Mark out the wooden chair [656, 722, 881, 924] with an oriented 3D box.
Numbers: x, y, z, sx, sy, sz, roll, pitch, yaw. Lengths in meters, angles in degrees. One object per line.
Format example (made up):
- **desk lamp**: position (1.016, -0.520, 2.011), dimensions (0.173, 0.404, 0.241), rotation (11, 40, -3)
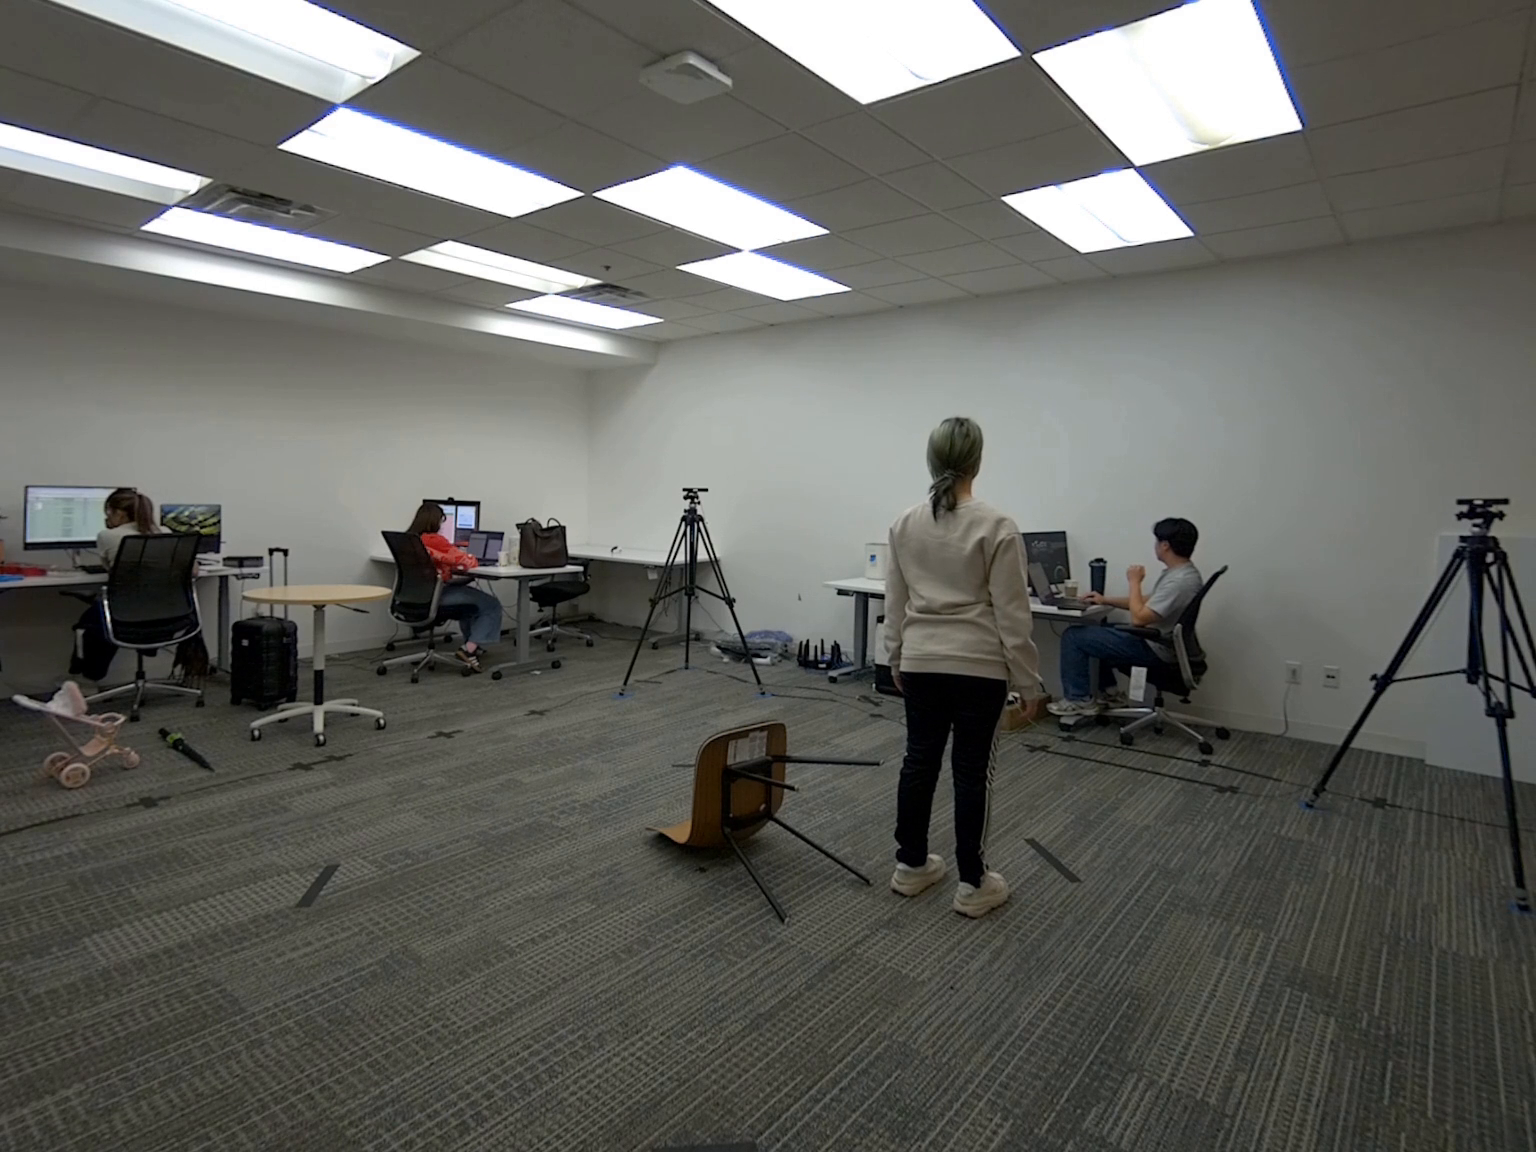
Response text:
- **wooden chair**: position (-0.080, 0.809, 3.164), dimensions (0.463, 0.522, 0.907), rotation (-2, 5, -43)
